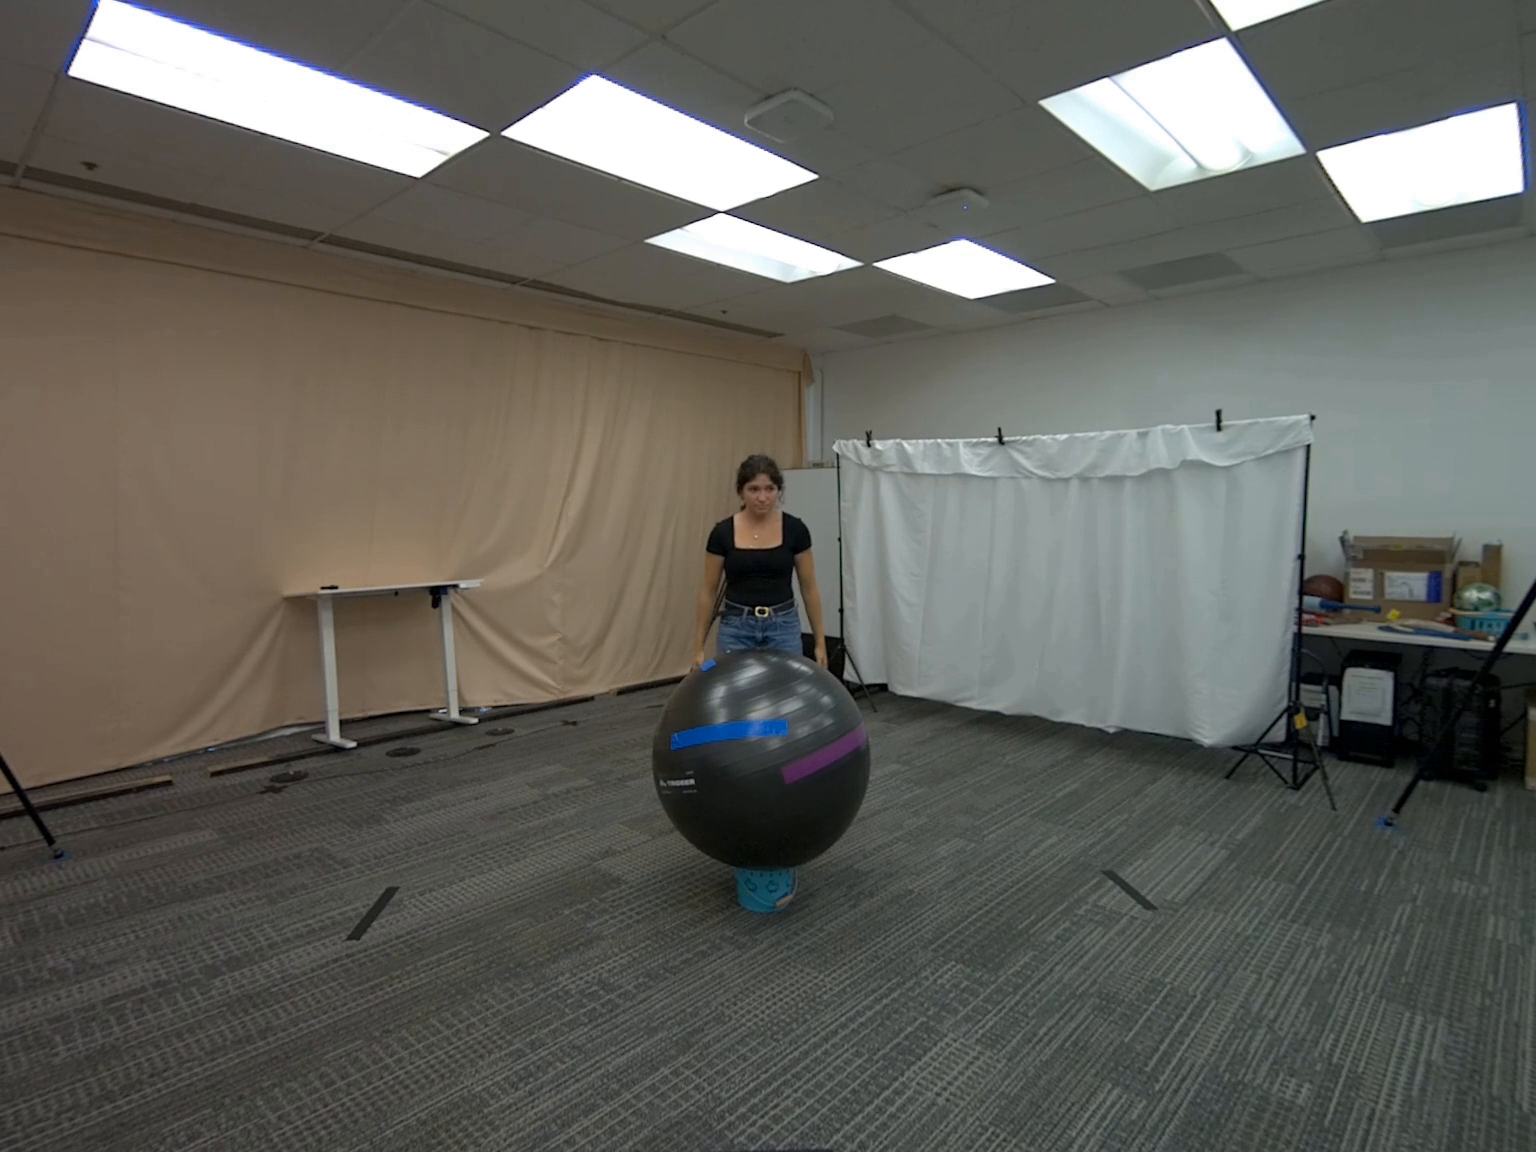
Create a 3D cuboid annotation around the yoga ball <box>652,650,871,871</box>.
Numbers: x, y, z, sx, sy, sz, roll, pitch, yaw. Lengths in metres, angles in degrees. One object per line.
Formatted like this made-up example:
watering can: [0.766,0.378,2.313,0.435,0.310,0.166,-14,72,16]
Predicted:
yoga ball: [-0.036,0.638,2.954,0.757,0.756,0.760,0,4,-2]
